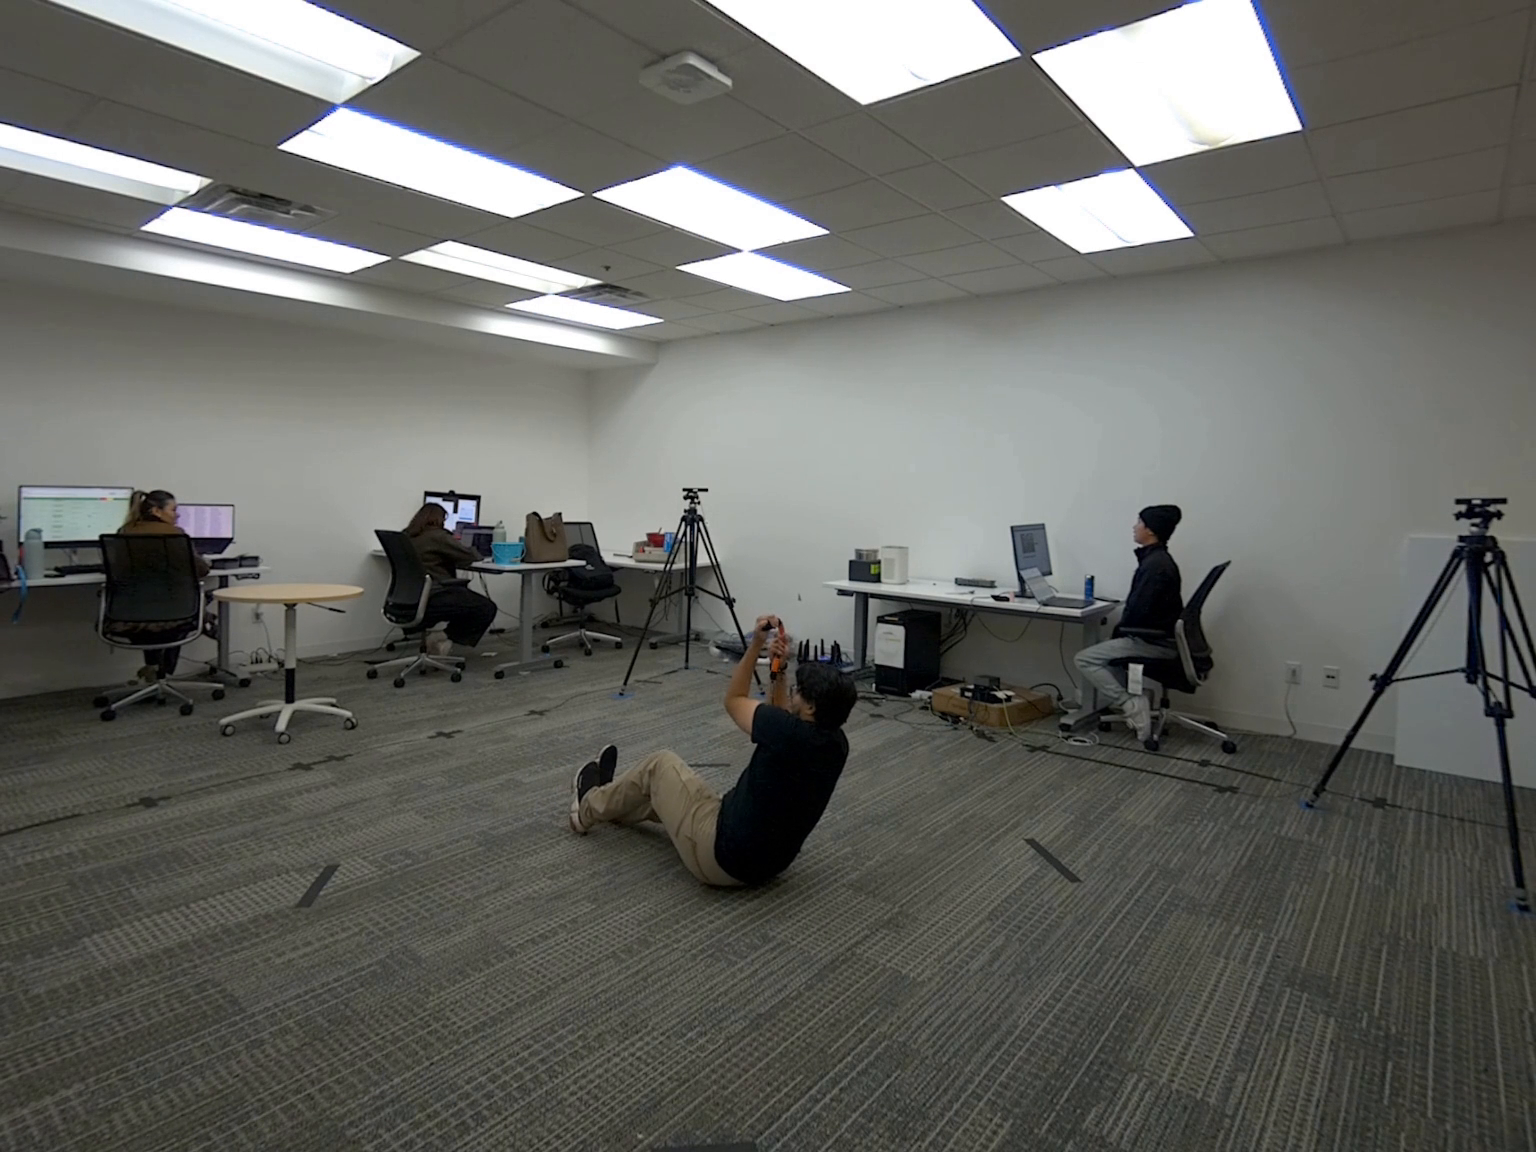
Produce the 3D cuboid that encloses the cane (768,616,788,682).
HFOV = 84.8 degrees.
[{"bbox_3d":[0.031,0.604,3.211,0.156,0.906,0.201,4,3,28],"label":"cane"}]
